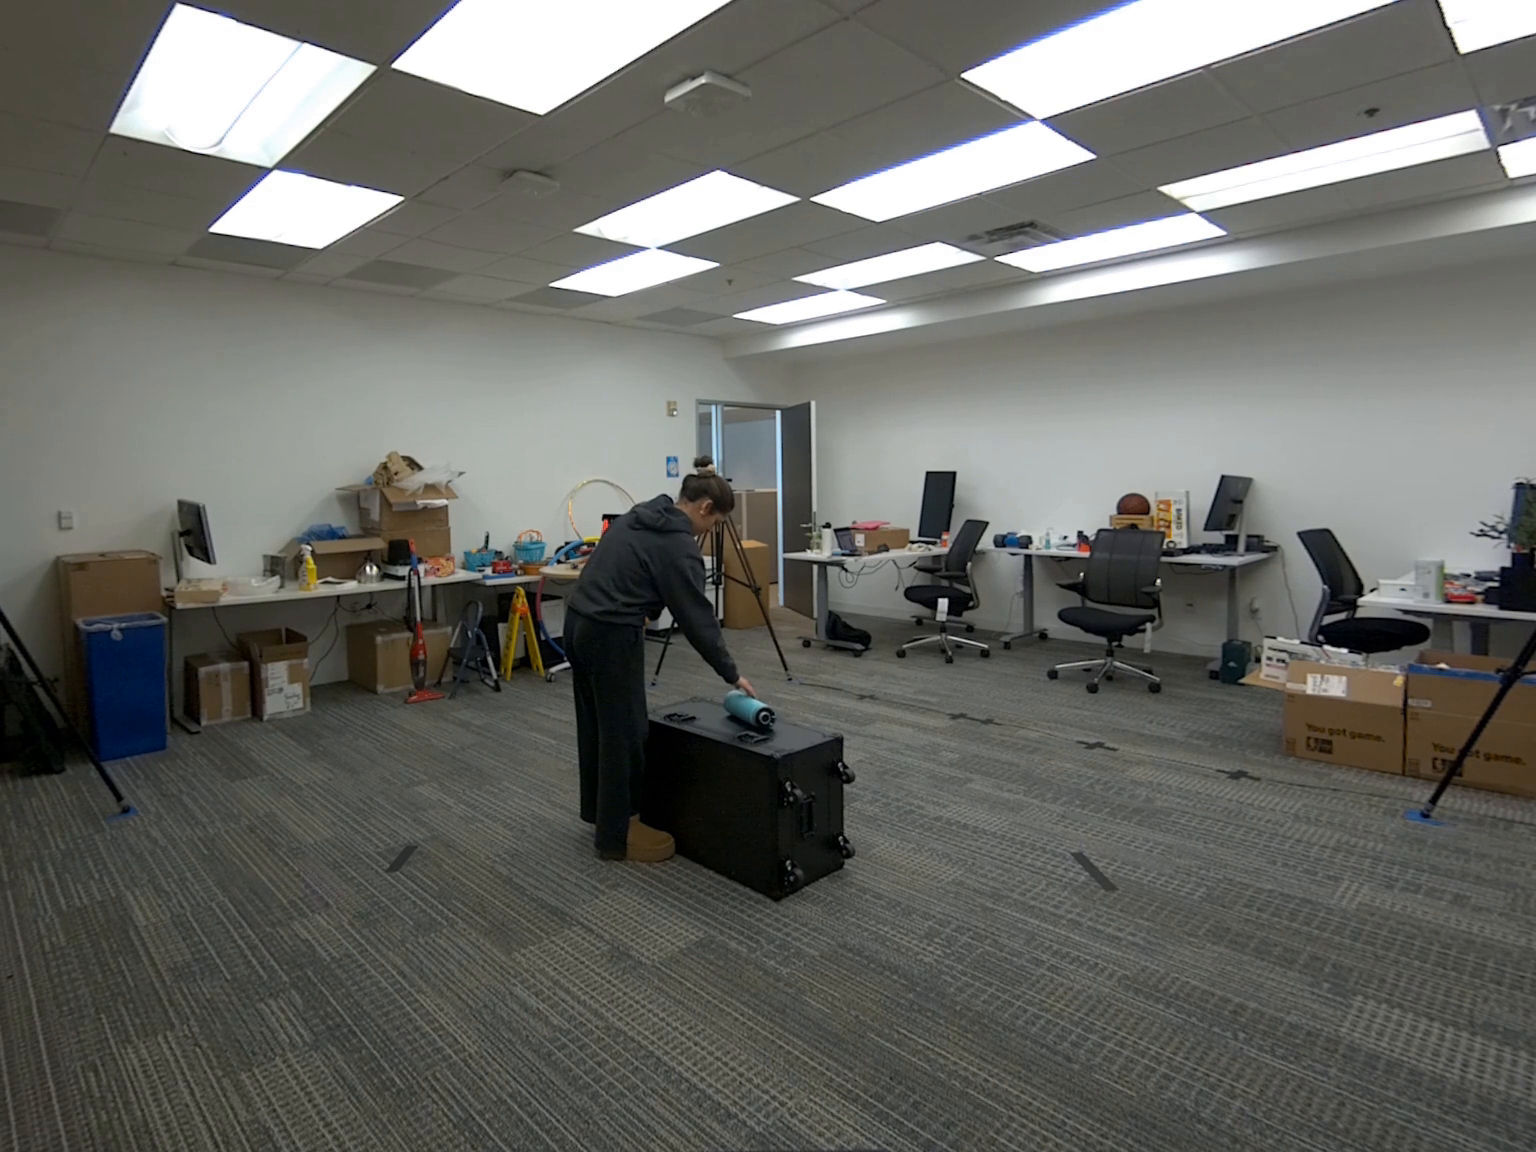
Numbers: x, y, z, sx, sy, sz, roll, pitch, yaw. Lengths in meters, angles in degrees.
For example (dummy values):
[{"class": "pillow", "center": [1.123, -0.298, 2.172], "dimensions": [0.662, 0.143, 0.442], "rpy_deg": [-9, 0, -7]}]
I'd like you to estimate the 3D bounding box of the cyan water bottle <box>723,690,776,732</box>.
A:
[{"class": "cyan water bottle", "center": [-0.069, 0.501, 3.190], "dimensions": [0.090, 0.092, 0.291], "rpy_deg": [-3, 6, -30]}]
